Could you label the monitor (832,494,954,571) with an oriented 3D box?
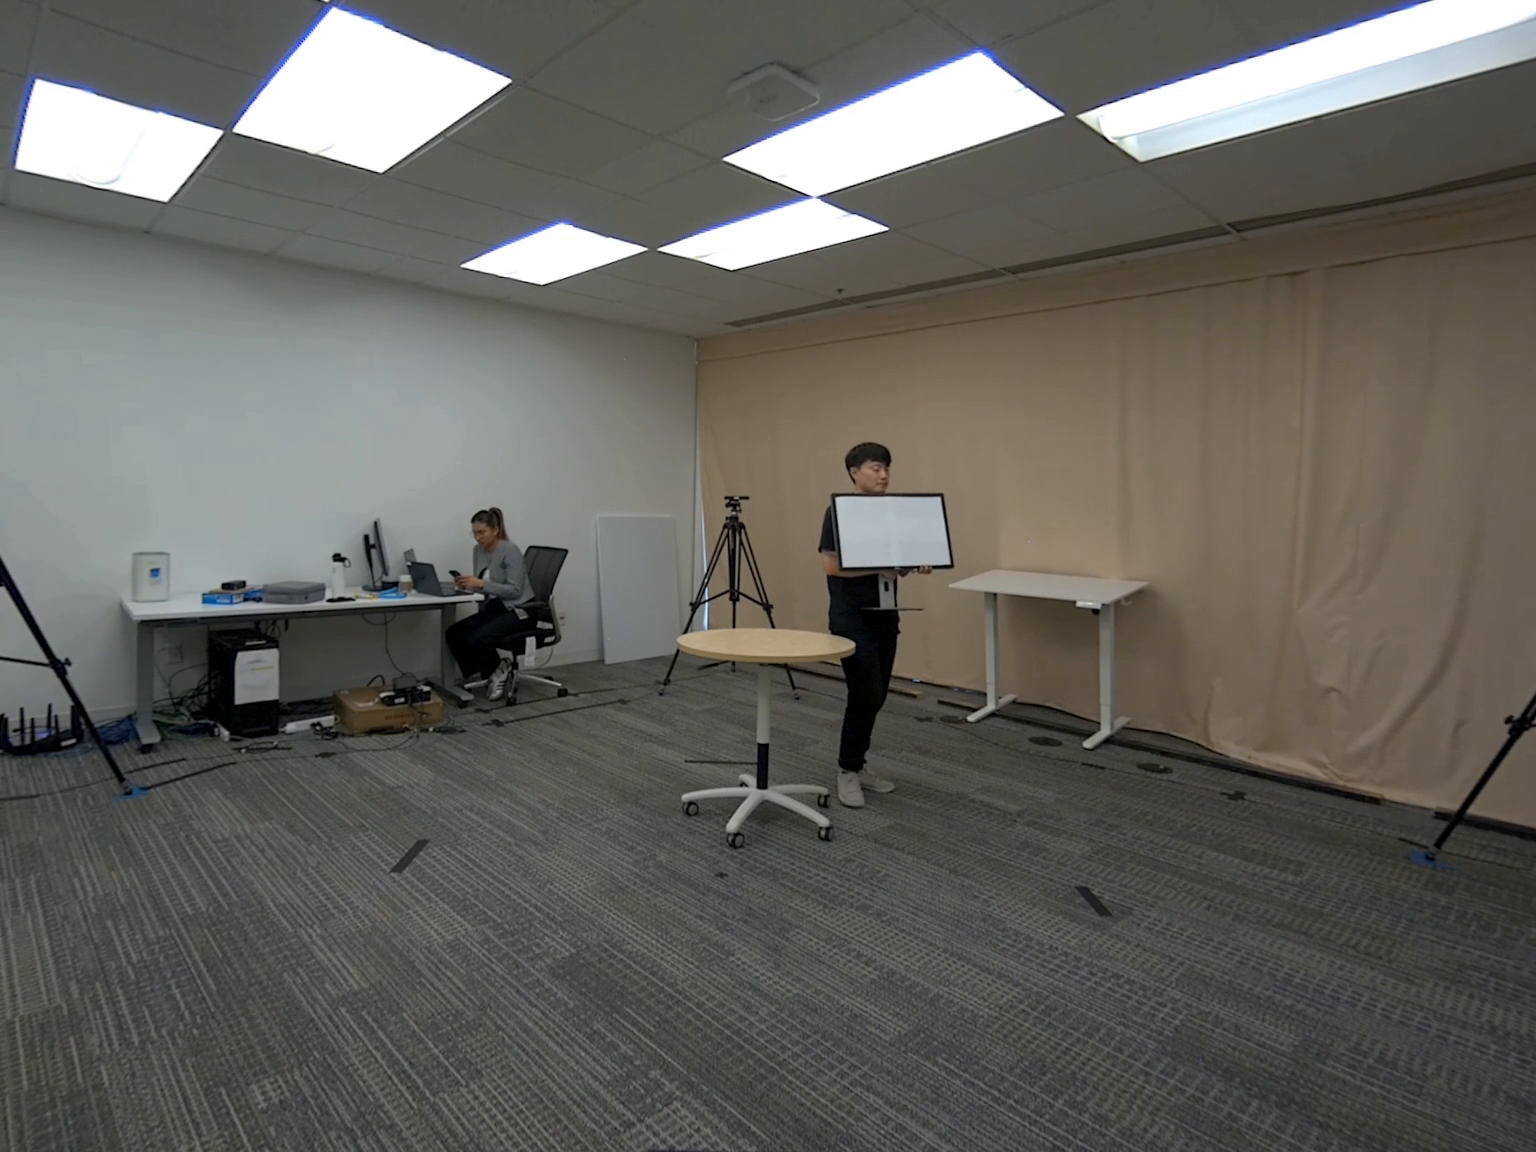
[{"bbox_3d":[0.546,-0.110,3.863,0.533,0.524,0.189,-1,-3,-15],"label":"monitor"}]
